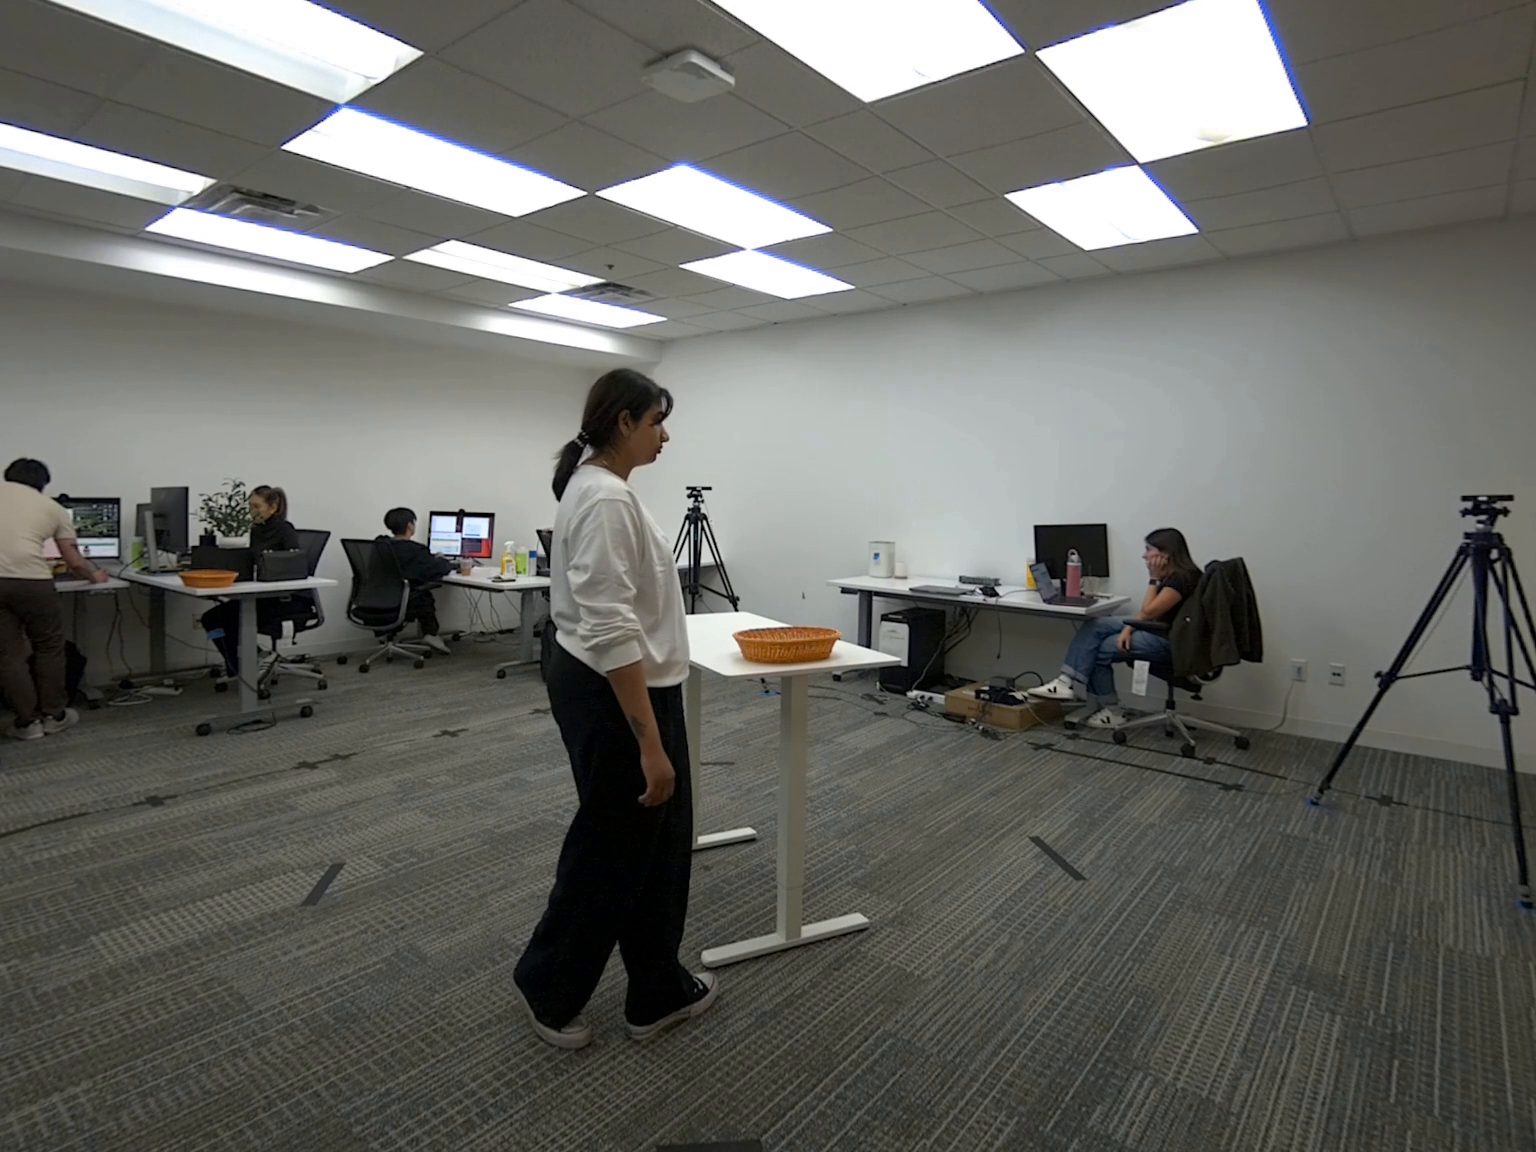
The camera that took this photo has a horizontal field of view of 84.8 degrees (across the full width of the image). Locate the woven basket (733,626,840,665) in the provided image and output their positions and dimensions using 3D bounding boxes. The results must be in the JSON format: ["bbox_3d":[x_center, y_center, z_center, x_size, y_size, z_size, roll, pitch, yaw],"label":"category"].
[{"bbox_3d":[0.061,0.215,2.566,0.343,0.073,0.258,-2,4,-21],"label":"woven basket"}]
